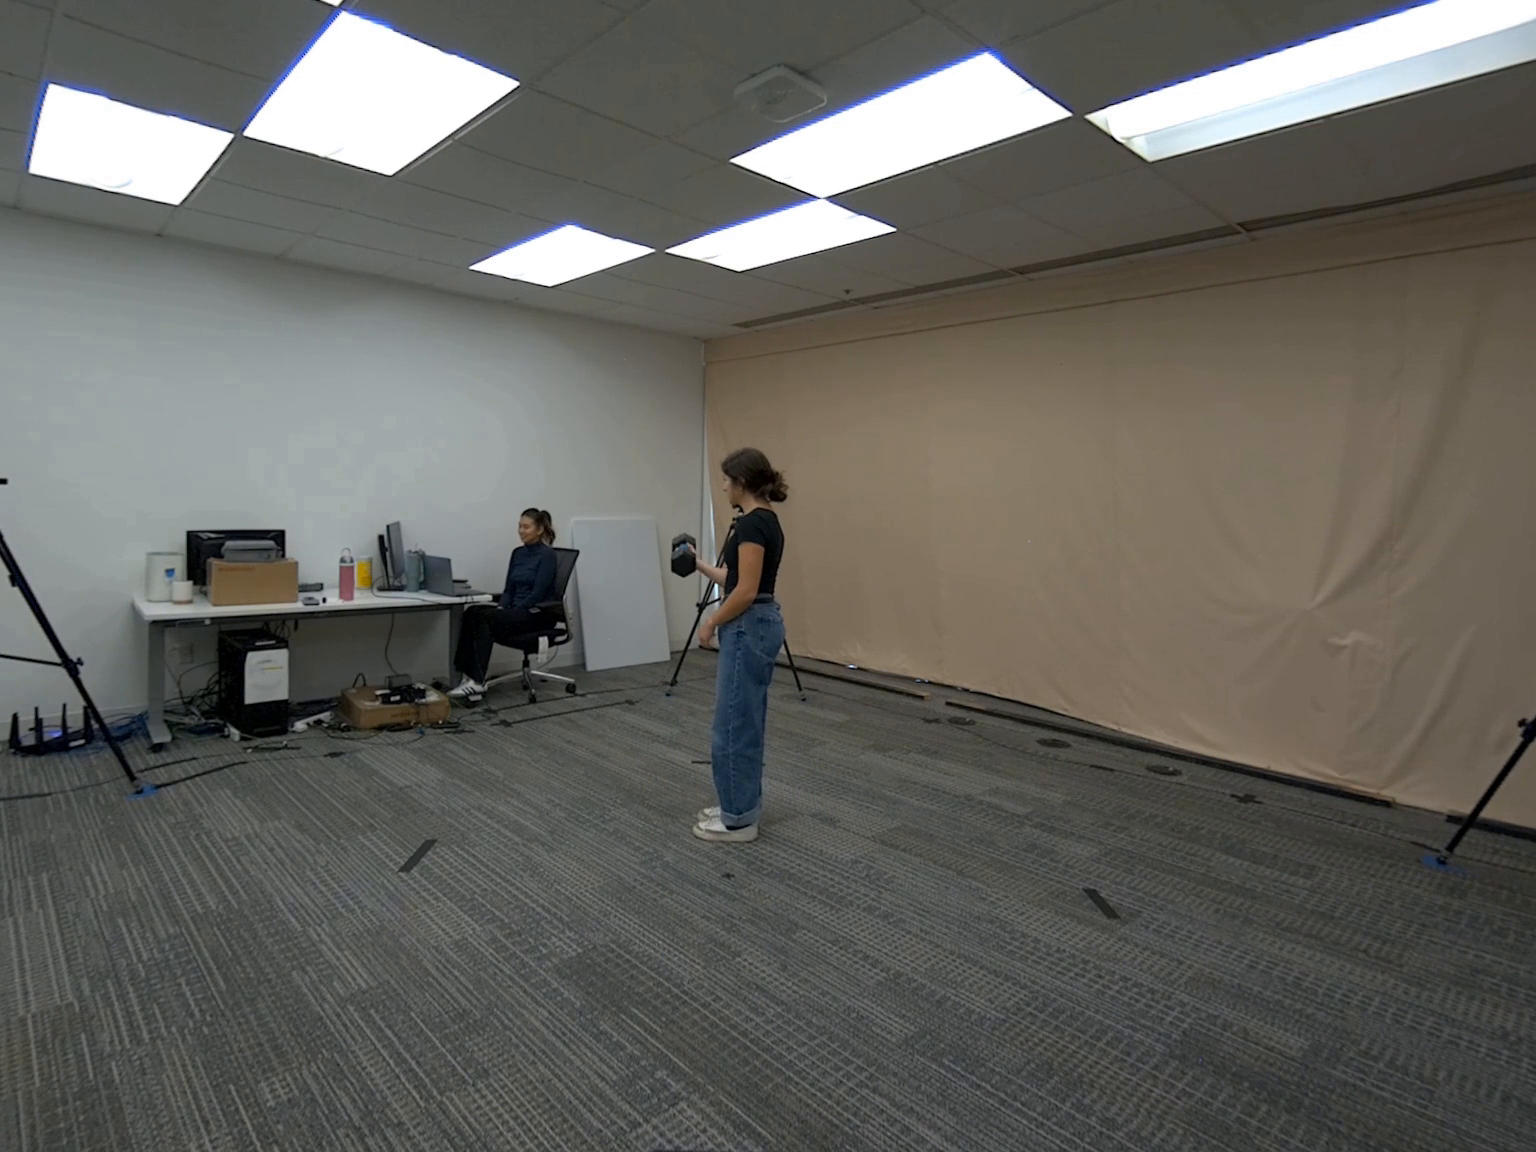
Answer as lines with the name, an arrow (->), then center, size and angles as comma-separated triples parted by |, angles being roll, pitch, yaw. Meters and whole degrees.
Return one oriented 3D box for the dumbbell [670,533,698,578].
dumbbell -> -0.370, -0.093, 3.691 | 0.121, 0.108, 0.298 | 31, 14, -13
